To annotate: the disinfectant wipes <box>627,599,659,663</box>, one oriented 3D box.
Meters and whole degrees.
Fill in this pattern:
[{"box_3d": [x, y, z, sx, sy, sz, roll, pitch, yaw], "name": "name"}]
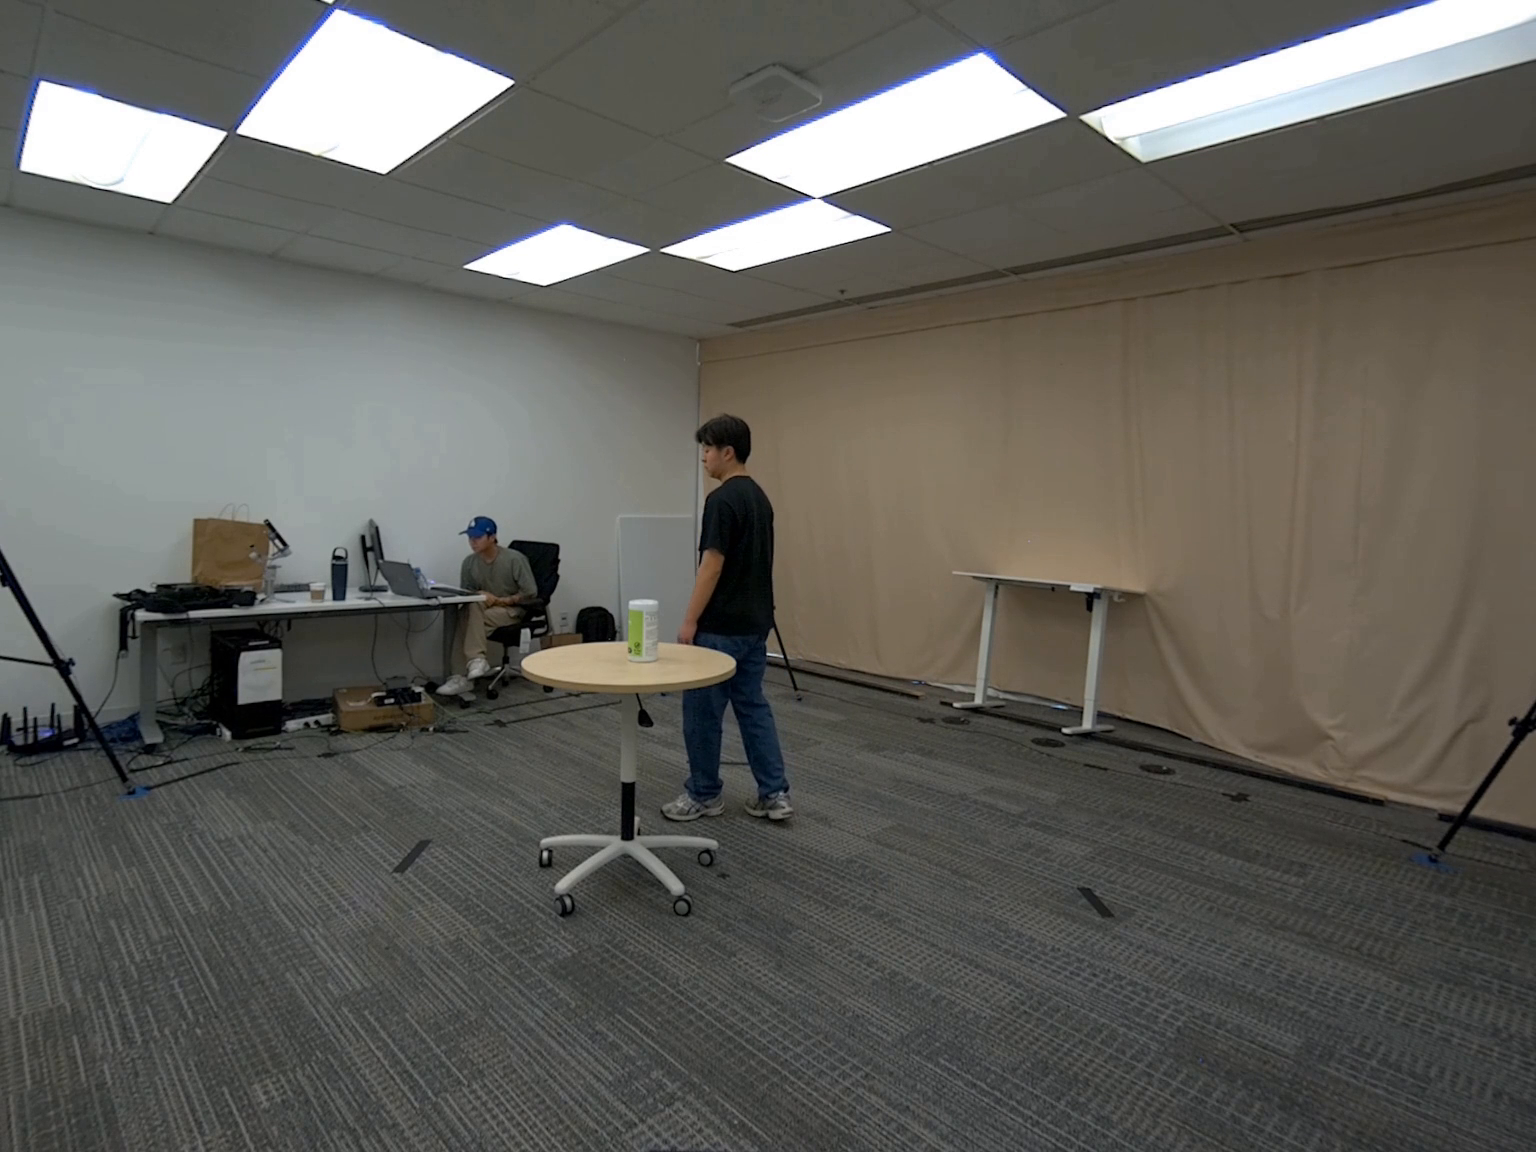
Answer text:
[{"box_3d": [-0.458, 0.202, 3.049, 0.118, 0.217, 0.118, 2, 3, -1], "name": "disinfectant wipes"}]
